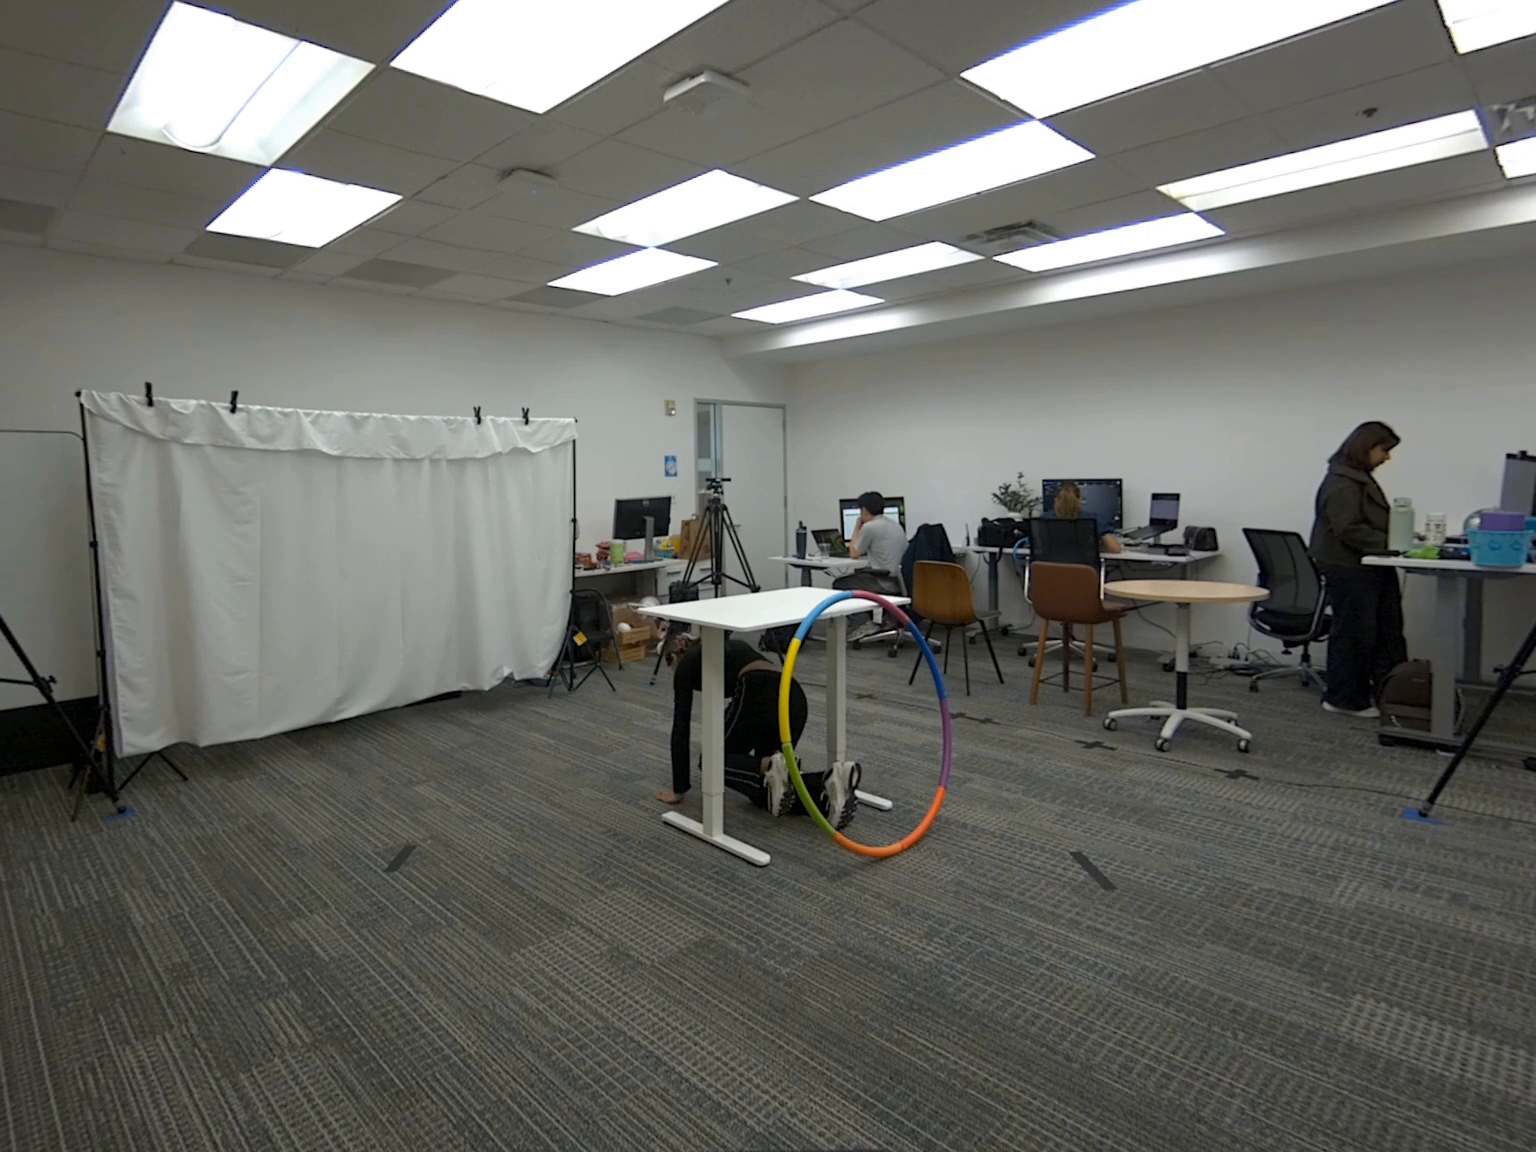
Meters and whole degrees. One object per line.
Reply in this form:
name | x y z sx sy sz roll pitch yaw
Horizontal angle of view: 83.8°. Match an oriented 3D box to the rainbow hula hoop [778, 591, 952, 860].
rainbow hula hoop | 0.401 0.546 3.244 0.953 0.987 0.036 -6 -10 -44
